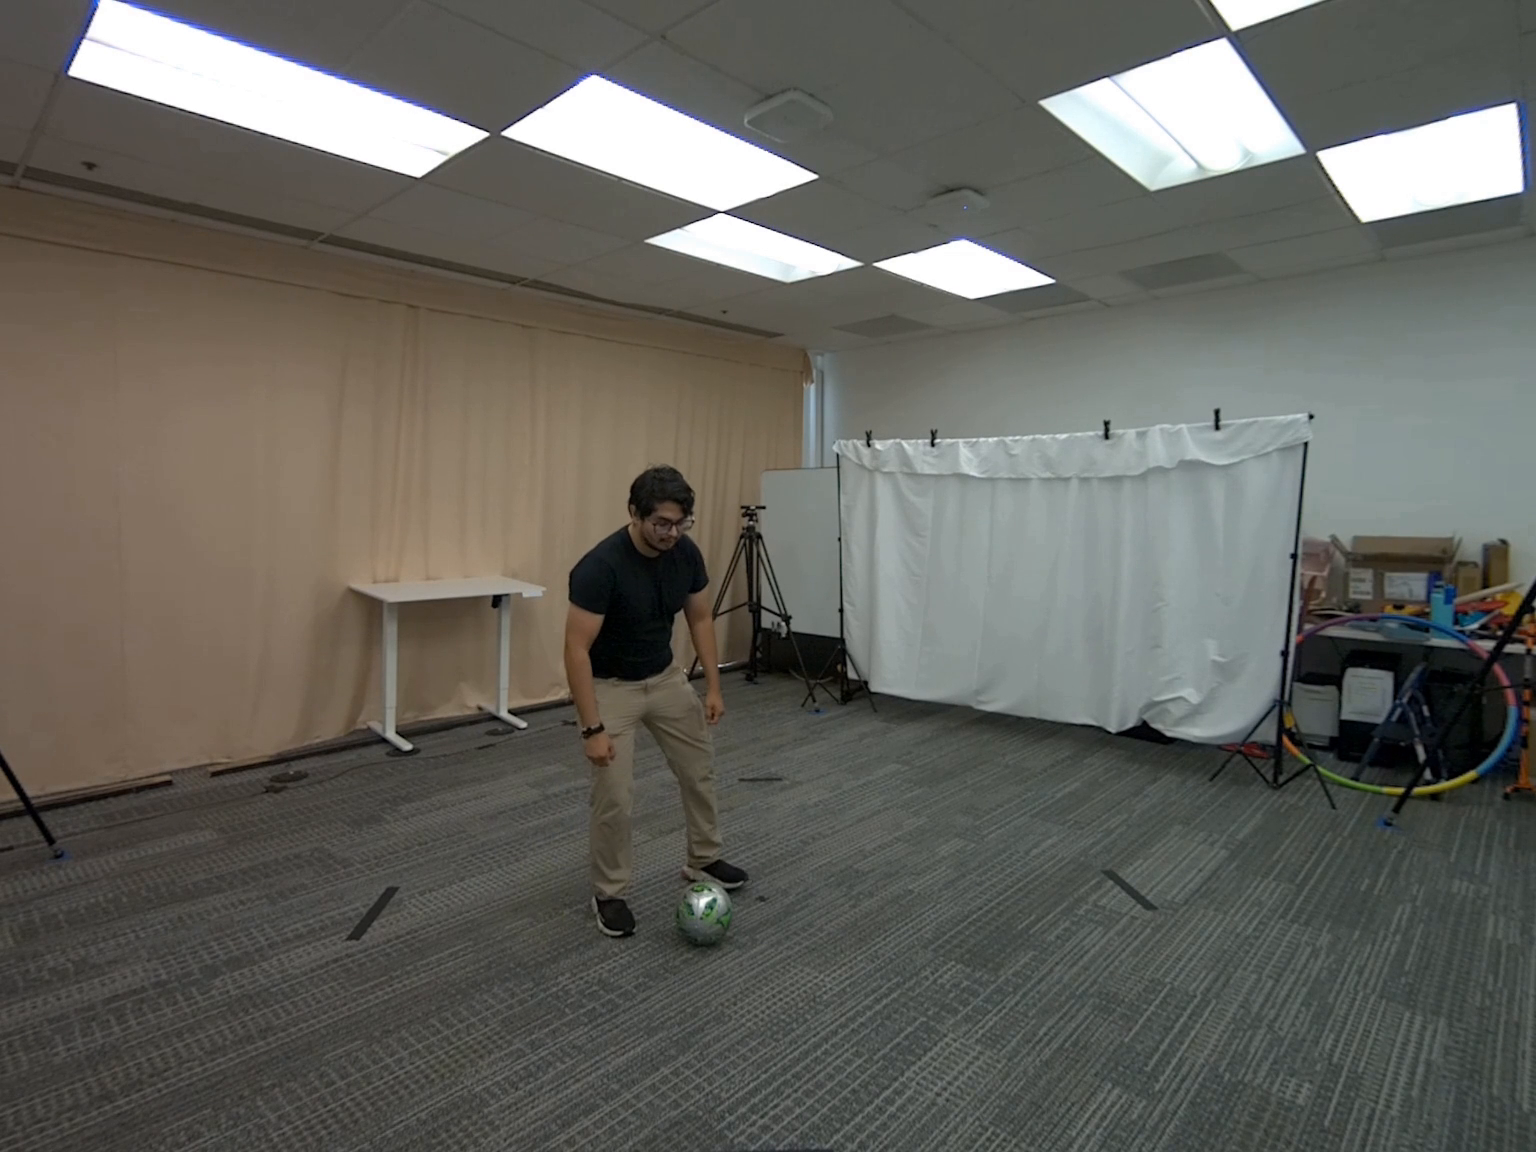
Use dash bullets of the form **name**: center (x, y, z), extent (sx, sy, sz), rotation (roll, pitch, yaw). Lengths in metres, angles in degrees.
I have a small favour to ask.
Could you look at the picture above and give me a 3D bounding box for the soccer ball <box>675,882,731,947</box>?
- **soccer ball**: center (-0.201, 1.071, 2.688), extent (0.187, 0.187, 0.188), rotation (0, 4, -2)
